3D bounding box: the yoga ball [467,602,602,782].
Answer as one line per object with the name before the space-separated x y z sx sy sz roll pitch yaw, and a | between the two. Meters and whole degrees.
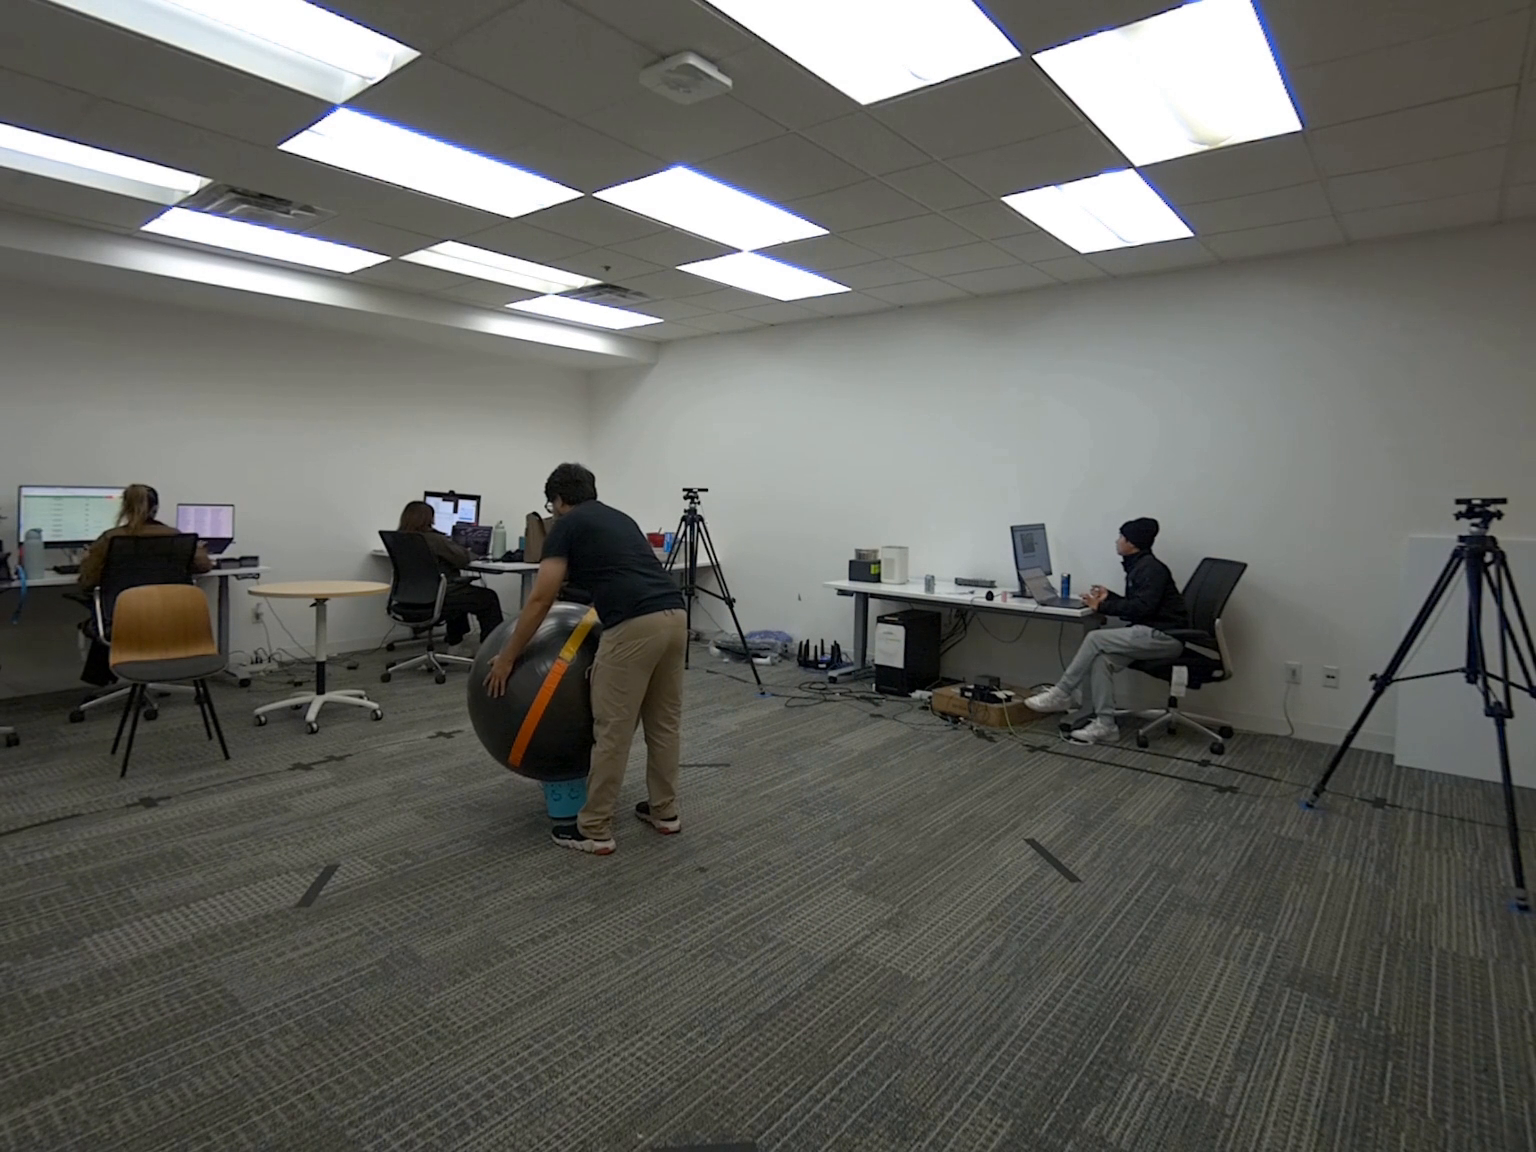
yoga ball | -0.922 0.494 3.664 0.757 0.756 0.762 1 4 -2
